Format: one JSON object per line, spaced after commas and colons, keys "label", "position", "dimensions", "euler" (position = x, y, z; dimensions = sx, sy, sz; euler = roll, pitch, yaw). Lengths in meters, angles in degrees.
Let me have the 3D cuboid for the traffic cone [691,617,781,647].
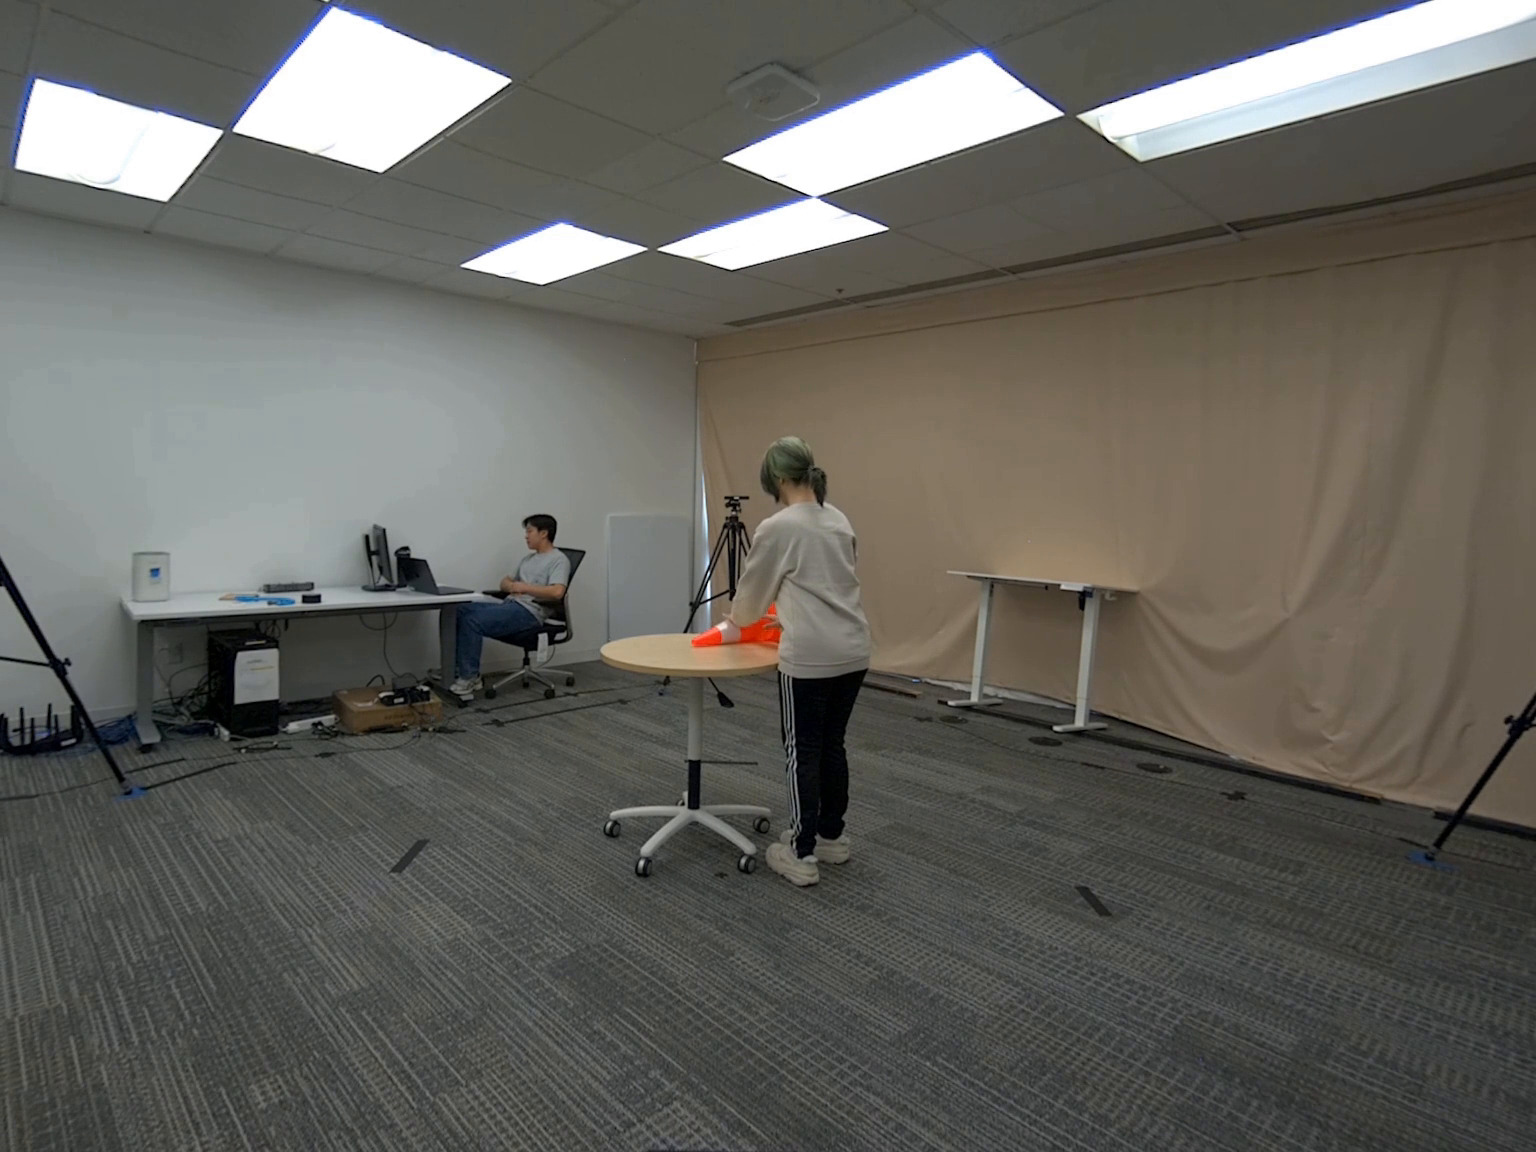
{"label": "traffic cone", "position": [-0.170, 0.232, 3.522], "dimensions": [0.377, 0.204, 0.208], "euler": [-16, 8, -41]}
